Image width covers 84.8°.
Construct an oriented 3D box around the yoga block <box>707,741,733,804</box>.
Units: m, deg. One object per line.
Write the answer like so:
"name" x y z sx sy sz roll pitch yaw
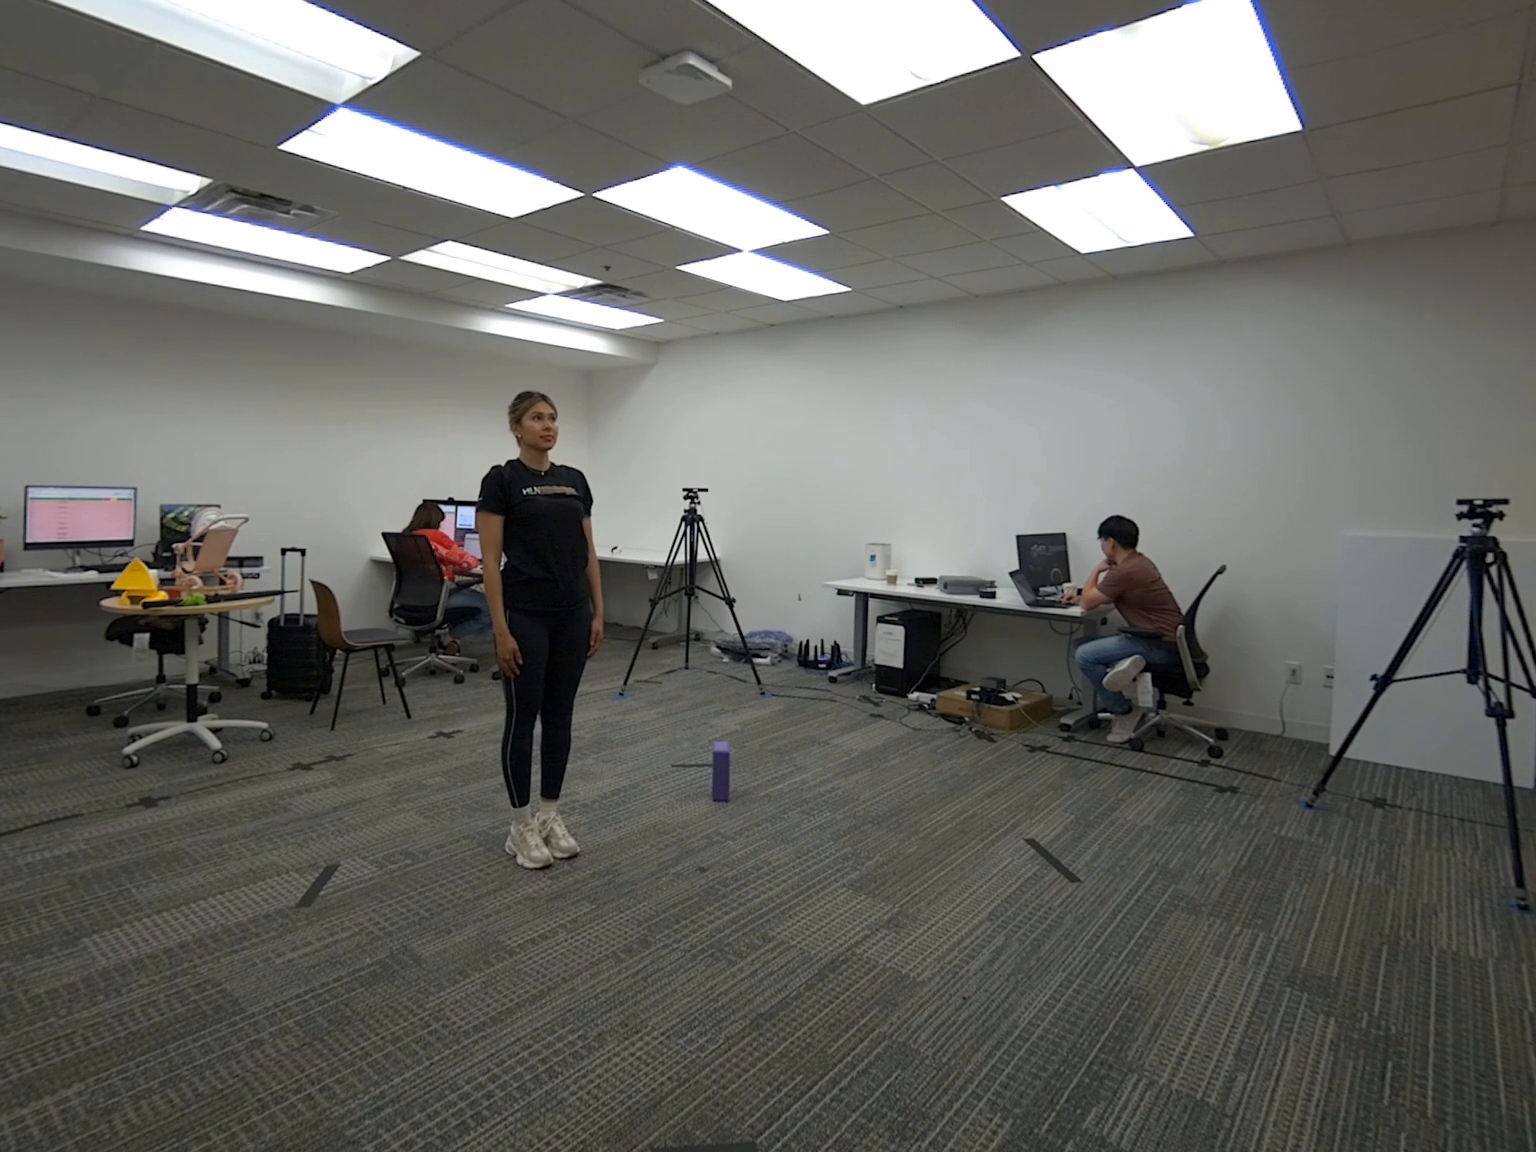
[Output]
"yoga block" -0.221 0.882 3.861 0.076 0.229 0.149 0 4 0
